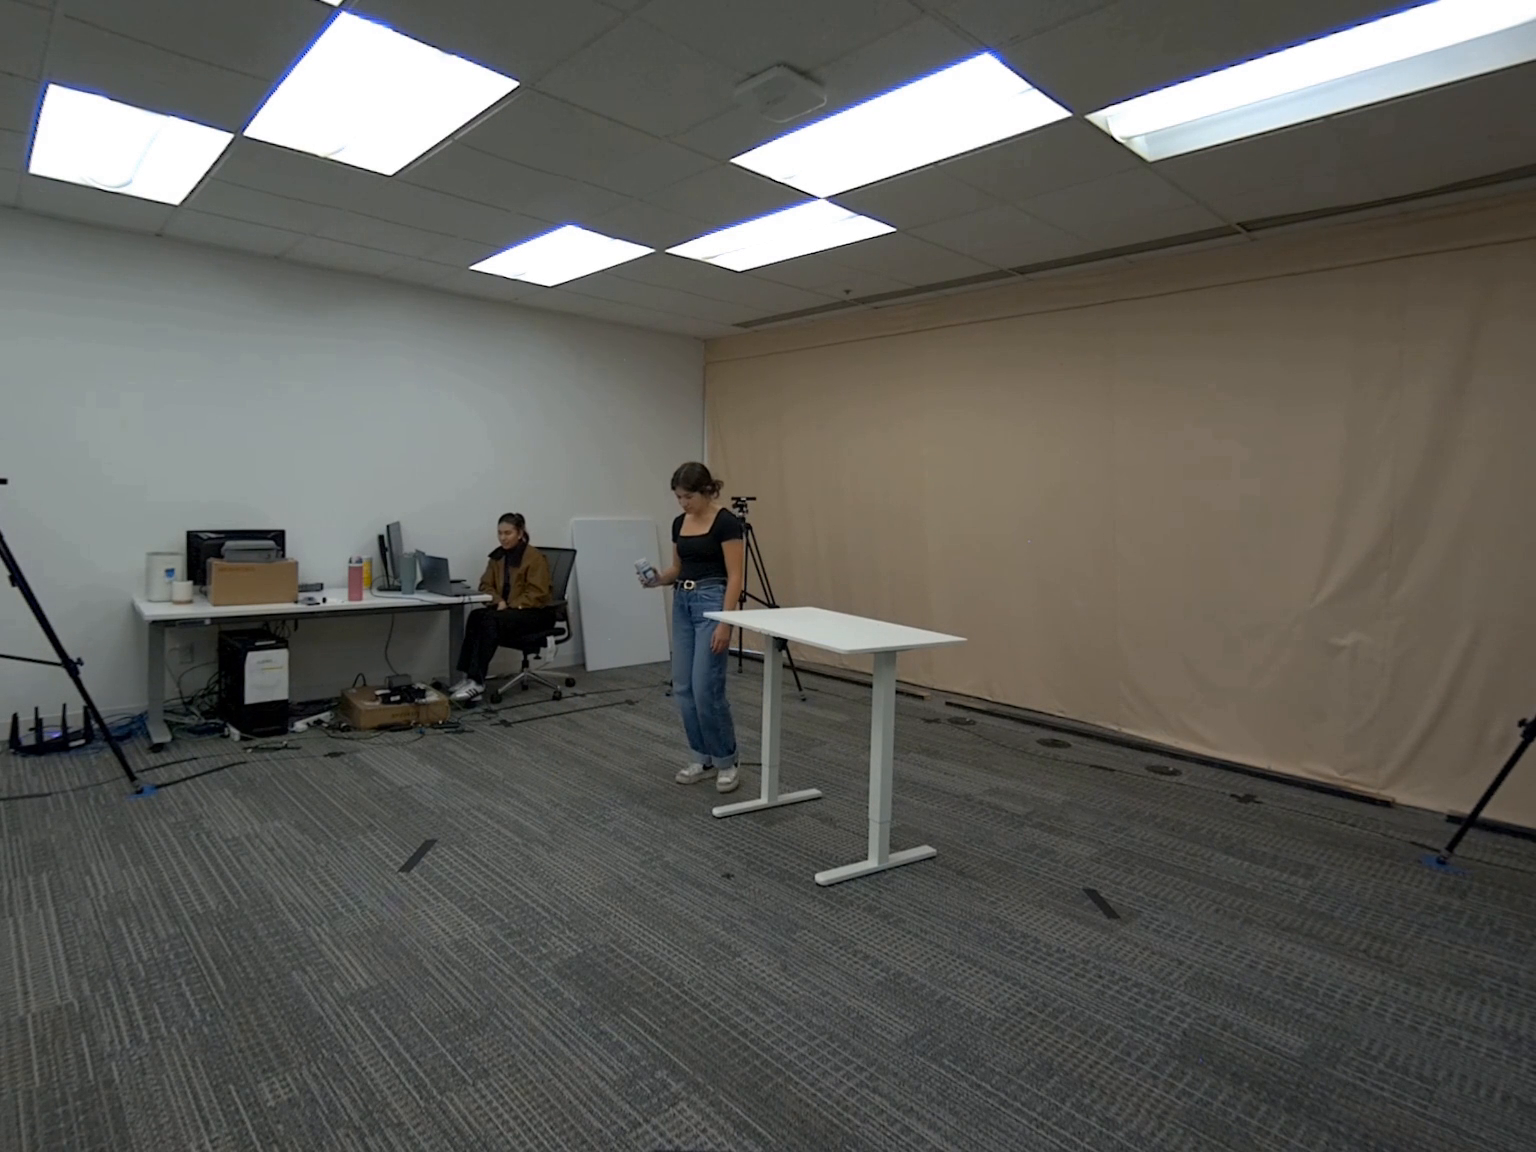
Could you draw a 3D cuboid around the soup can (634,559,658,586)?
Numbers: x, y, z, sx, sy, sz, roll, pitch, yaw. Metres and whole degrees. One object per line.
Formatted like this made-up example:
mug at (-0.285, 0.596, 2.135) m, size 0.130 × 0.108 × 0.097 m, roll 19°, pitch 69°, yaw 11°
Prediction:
soup can at (-0.607, -0.027, 4.036) m, size 0.067 × 0.120 × 0.067 m, roll -24°, pitch 10°, yaw 3°
